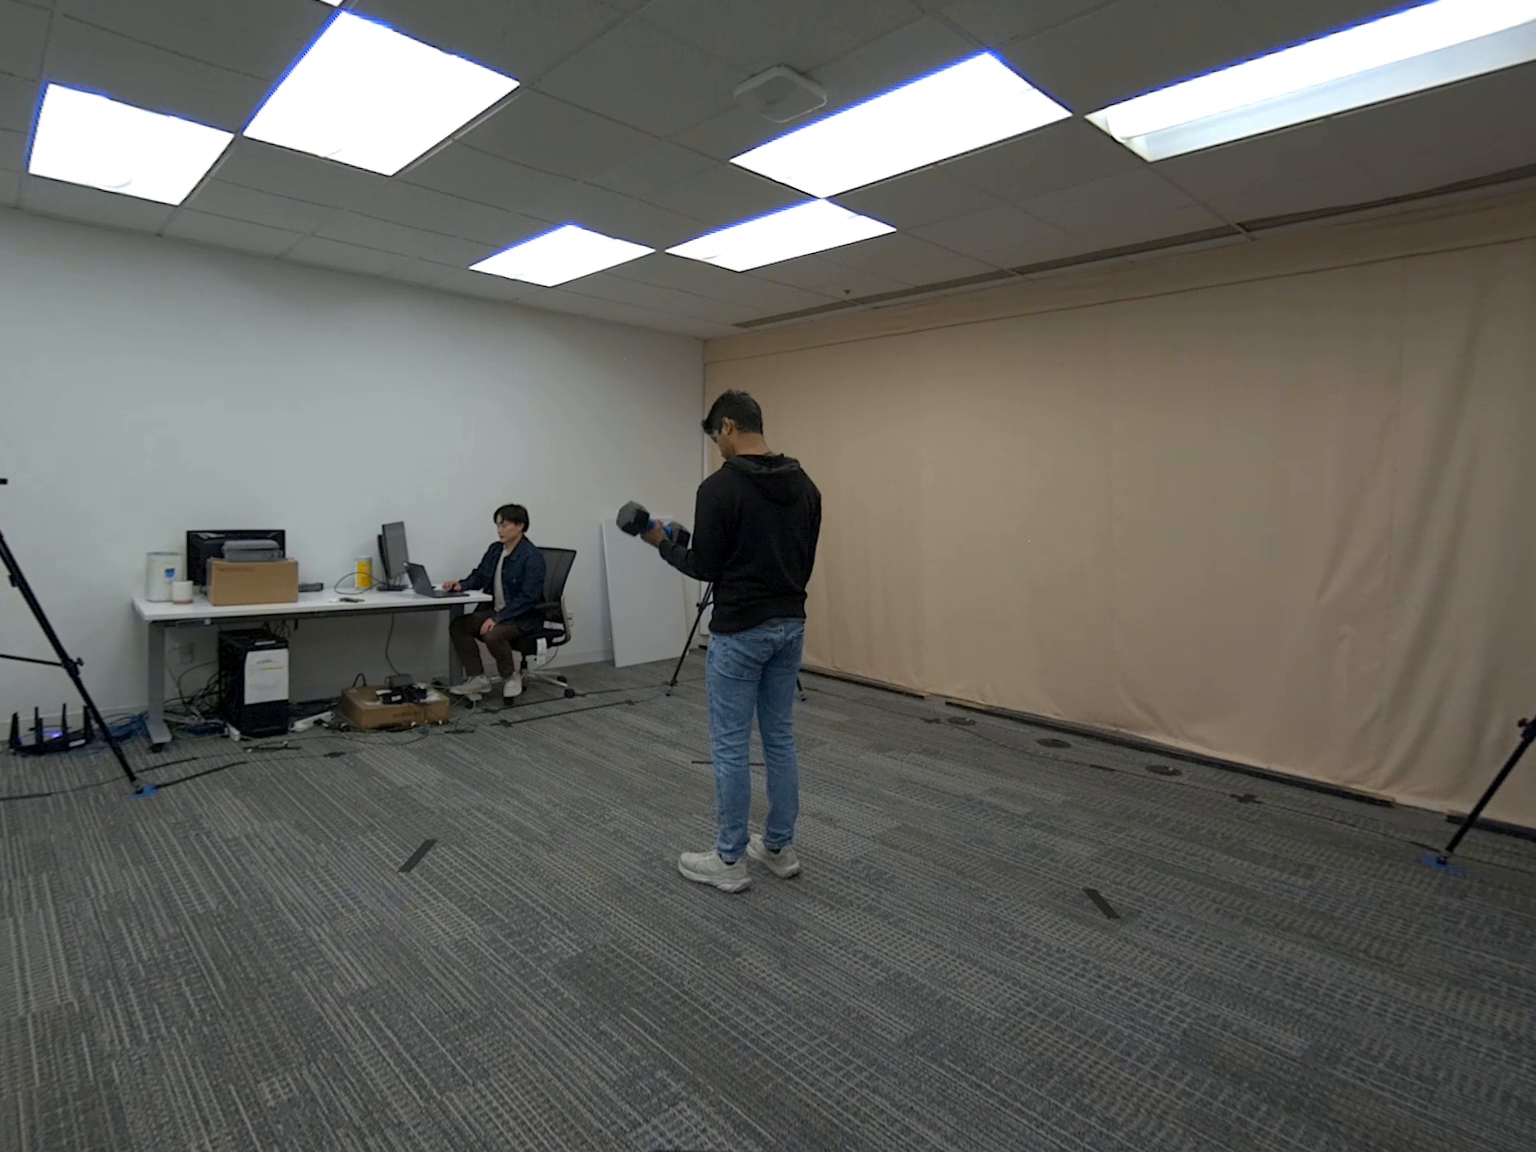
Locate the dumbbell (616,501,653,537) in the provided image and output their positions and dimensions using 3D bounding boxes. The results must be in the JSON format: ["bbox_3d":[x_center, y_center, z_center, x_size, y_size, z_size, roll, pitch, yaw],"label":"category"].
[{"bbox_3d":[-0.422,-0.163,3.172,0.111,0.124,0.285,-2,-21,46],"label":"dumbbell"}]
